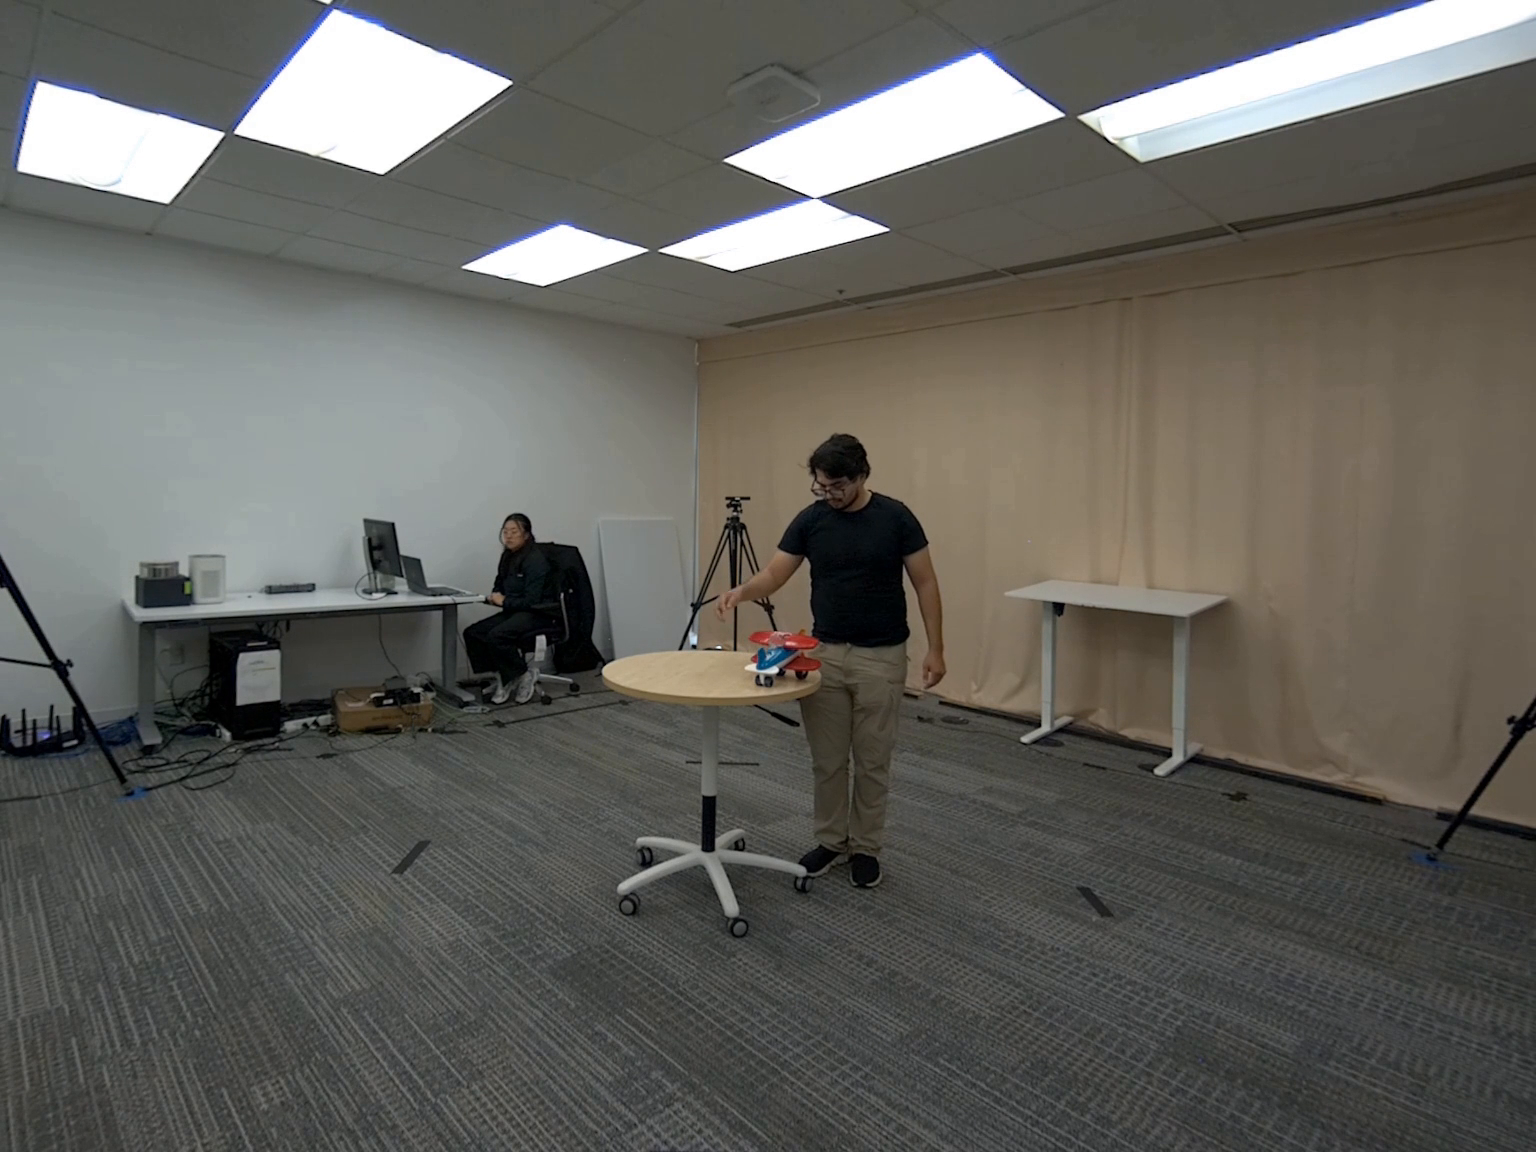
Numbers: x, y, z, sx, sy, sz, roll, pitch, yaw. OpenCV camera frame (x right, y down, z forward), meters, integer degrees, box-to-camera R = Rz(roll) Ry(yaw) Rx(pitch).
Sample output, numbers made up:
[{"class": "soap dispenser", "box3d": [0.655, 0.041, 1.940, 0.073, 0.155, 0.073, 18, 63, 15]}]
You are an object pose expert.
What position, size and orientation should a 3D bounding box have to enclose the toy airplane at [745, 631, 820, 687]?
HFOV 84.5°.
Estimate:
[{"class": "toy airplane", "box3d": [0.051, 0.280, 2.802, 0.252, 0.156, 0.259, 1, 4, 3]}]
